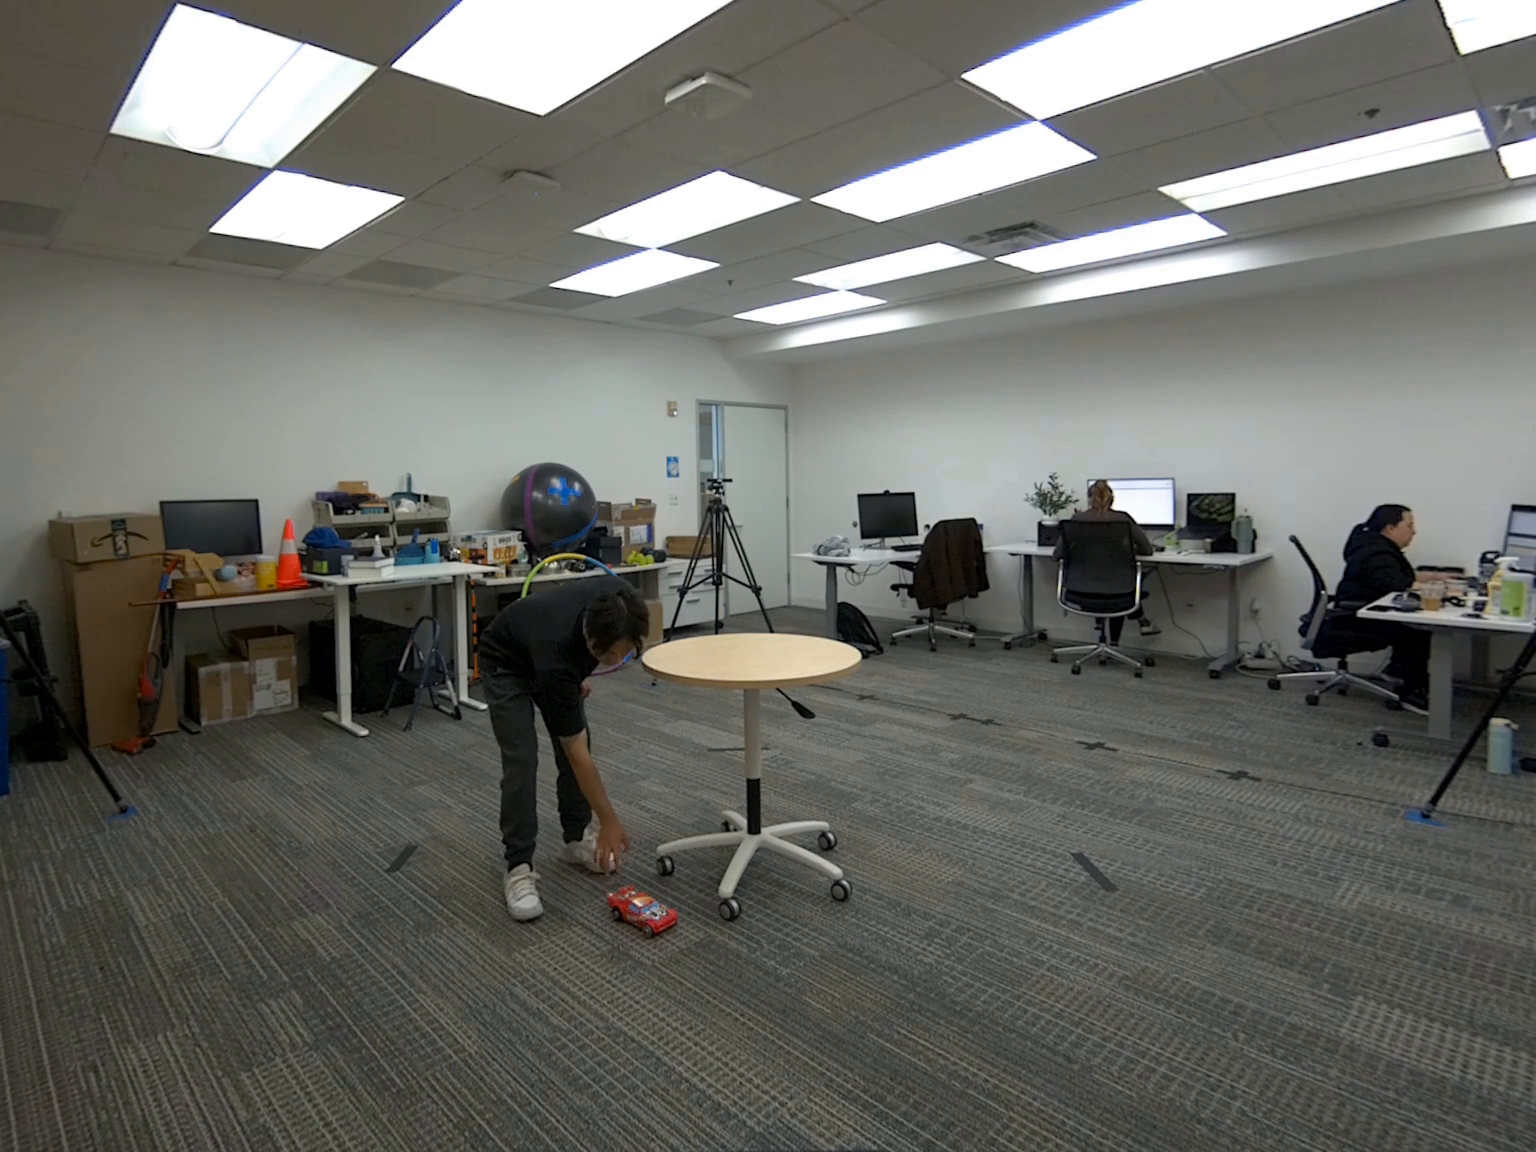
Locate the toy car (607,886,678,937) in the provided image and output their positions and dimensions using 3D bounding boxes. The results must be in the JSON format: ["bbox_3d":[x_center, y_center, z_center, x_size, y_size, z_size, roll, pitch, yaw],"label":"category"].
[{"bbox_3d":[-0.405,1.068,2.719,0.264,0.082,0.127,18,18,40],"label":"toy car"}]
